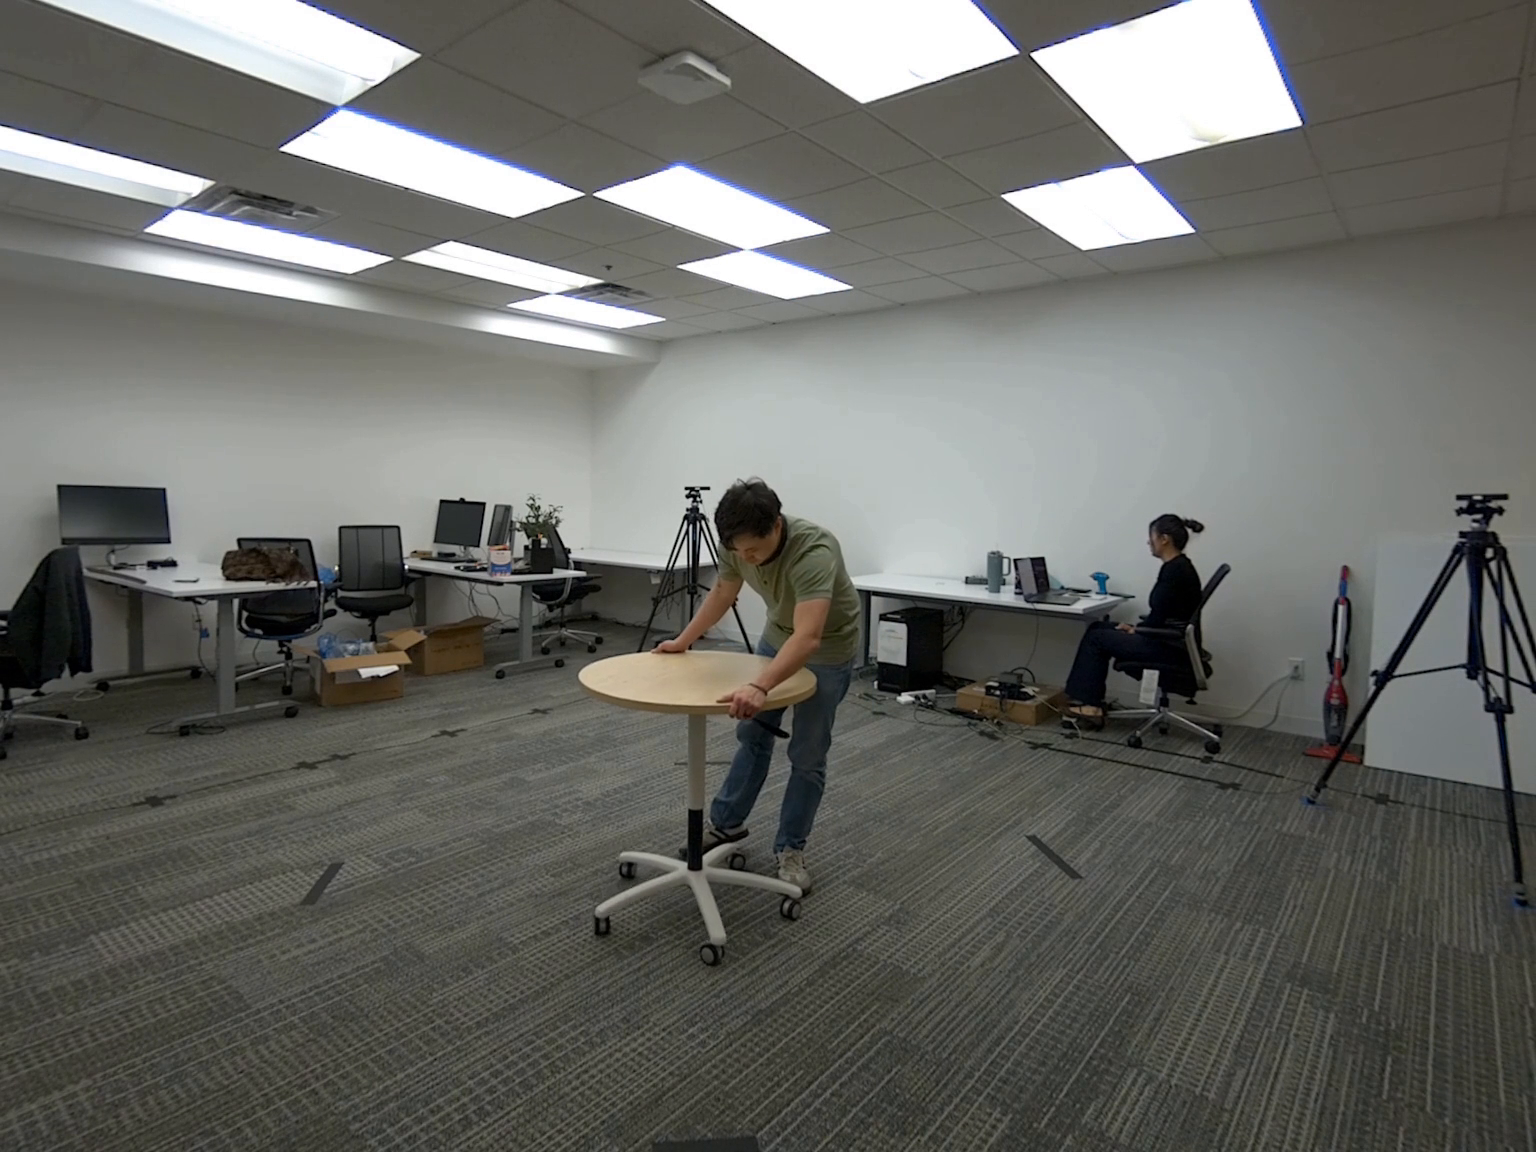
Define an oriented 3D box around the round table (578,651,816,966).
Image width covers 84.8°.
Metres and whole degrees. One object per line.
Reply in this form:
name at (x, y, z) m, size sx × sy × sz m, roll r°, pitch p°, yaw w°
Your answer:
round table at (-0.250, 0.708, 2.778) m, size 0.763 × 0.791 × 0.768 m, roll 1°, pitch 5°, yaw -2°
